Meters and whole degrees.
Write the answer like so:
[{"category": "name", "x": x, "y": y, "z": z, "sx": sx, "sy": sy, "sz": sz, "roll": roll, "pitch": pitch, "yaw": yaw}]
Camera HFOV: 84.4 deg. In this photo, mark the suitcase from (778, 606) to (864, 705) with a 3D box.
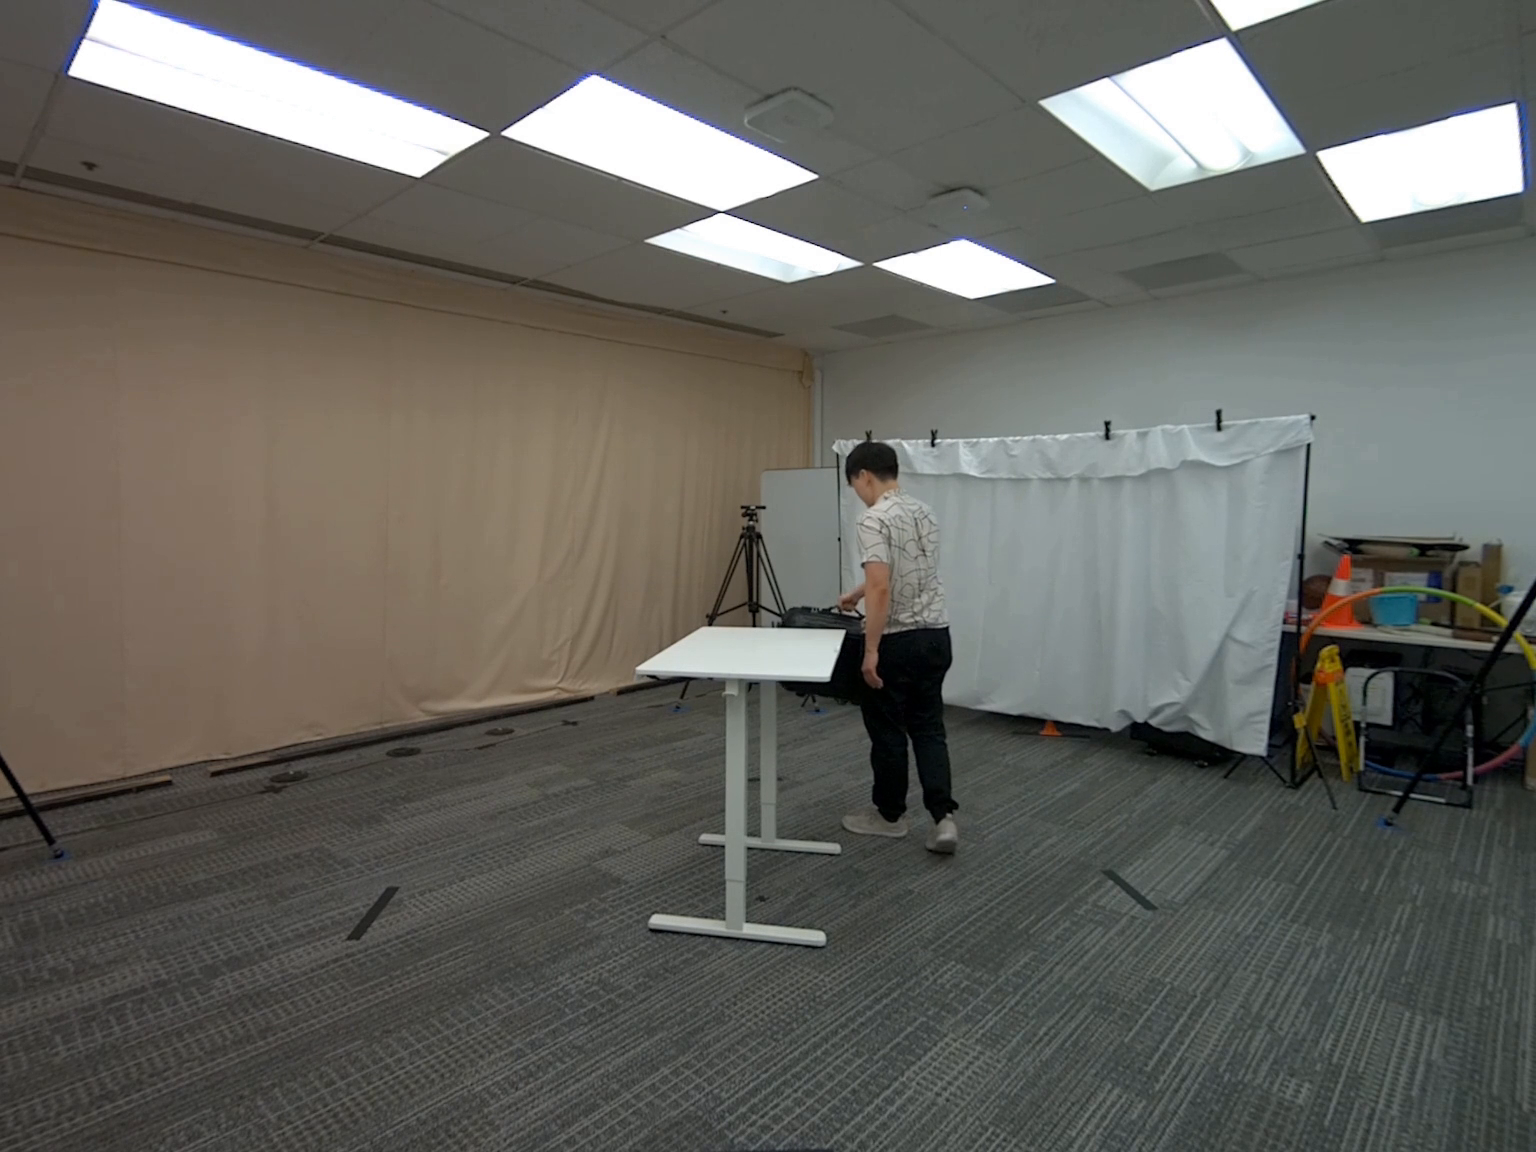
[{"category": "suitcase", "x": 0.310, "y": 0.354, "z": 3.804, "sx": 0.546, "sy": 0.373, "sz": 0.251, "roll": 11, "pitch": 12, "yaw": -5}]
